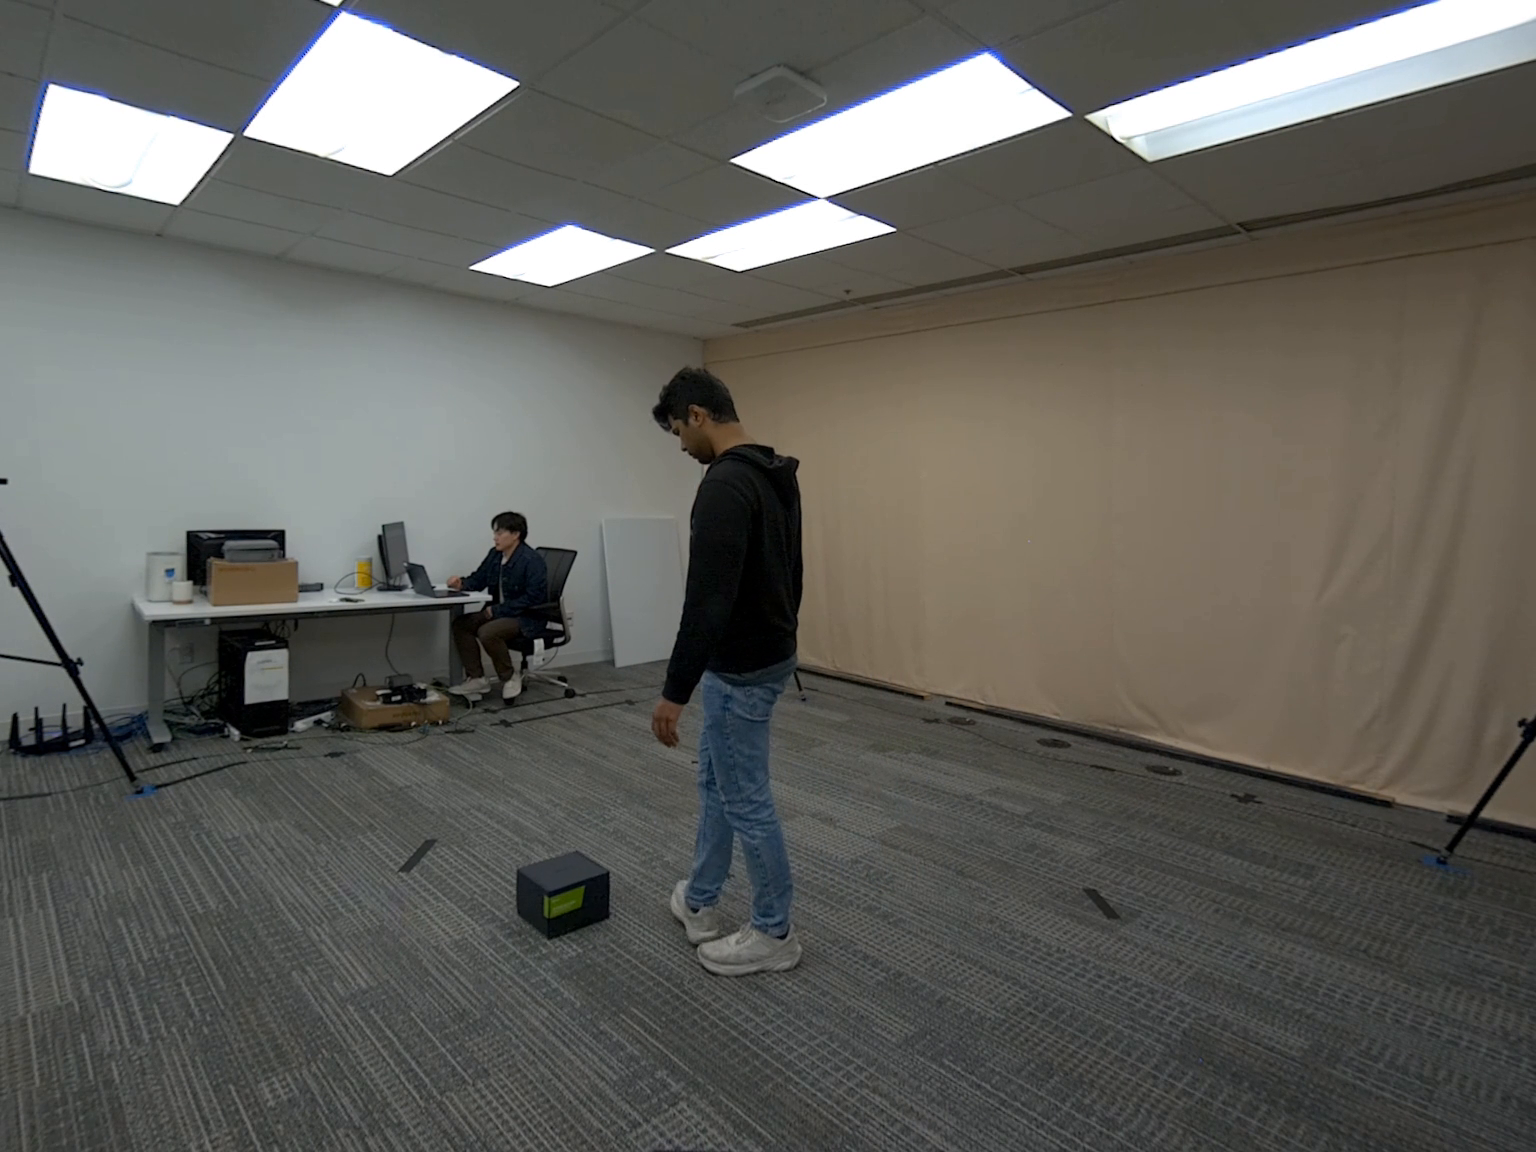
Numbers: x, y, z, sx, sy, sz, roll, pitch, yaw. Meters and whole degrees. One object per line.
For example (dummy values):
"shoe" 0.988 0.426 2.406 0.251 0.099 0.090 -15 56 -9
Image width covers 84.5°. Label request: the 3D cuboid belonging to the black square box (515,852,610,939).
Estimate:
"black square box" -0.667 1.043 2.777 0.223 0.155 0.222 -3 6 -43
